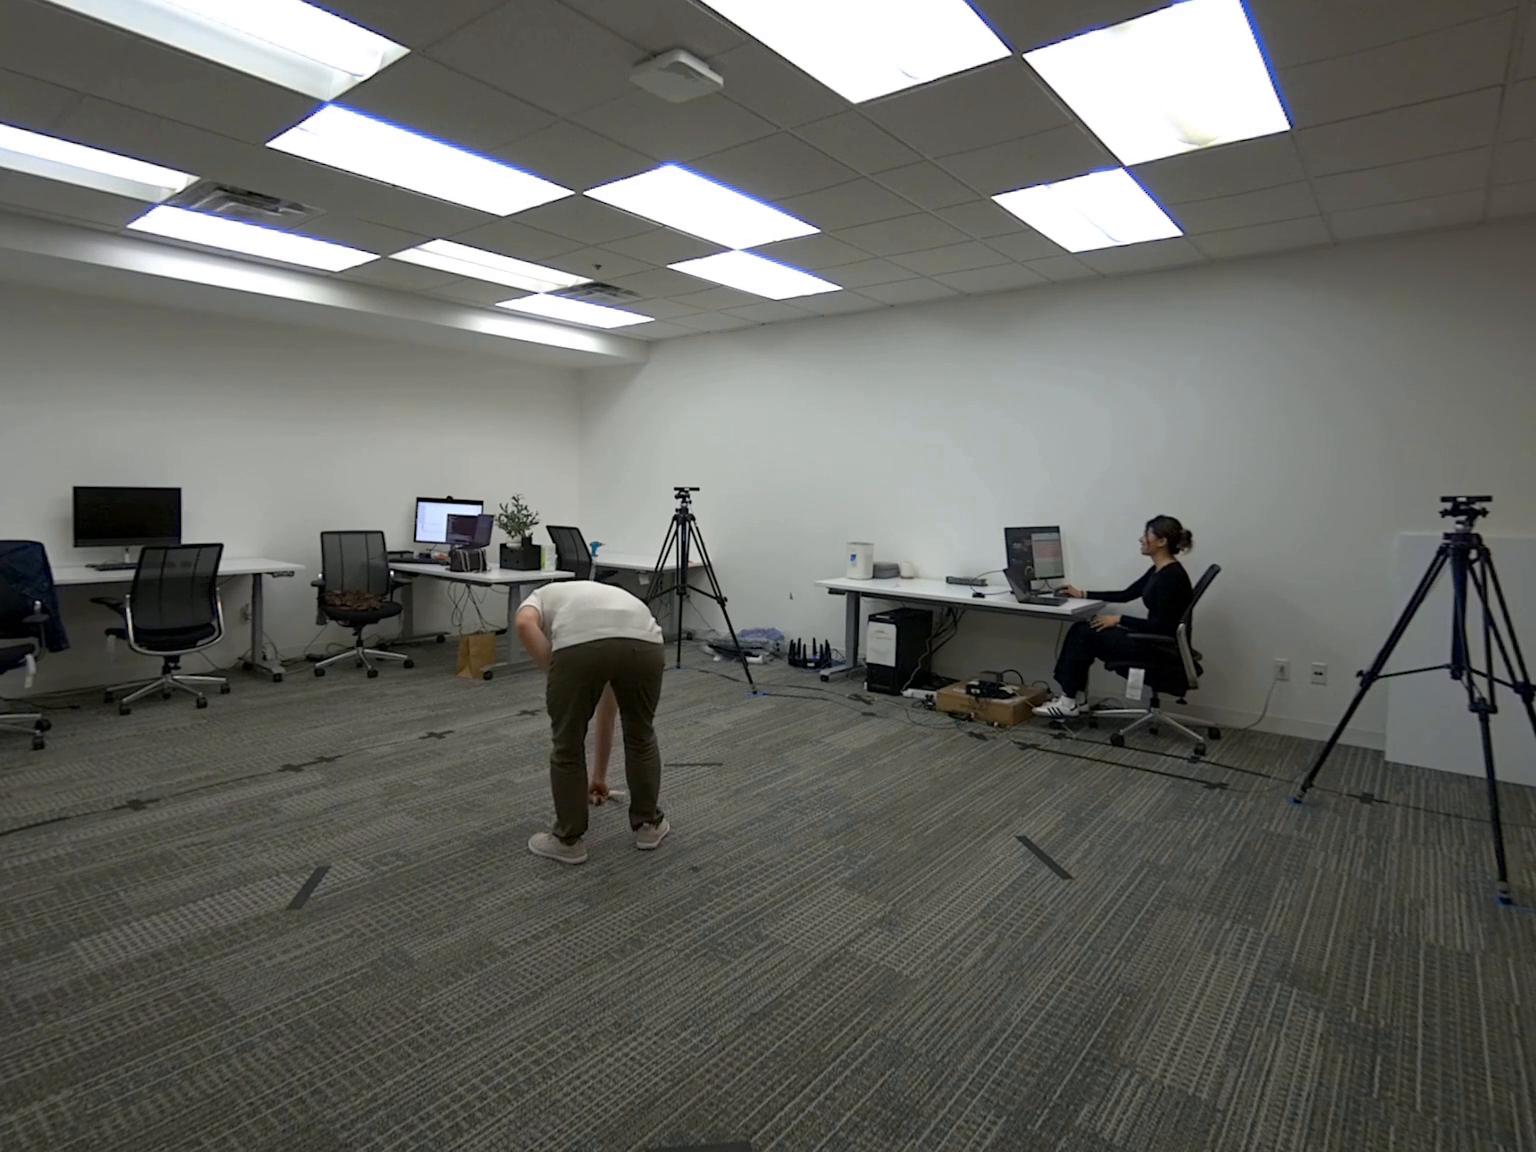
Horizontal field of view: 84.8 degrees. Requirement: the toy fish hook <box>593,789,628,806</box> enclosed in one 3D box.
[{"bbox_3d":[-0.705,0.924,3.590,0.221,0.049,0.508,-4,-9,-16],"label":"toy fish hook"}]
